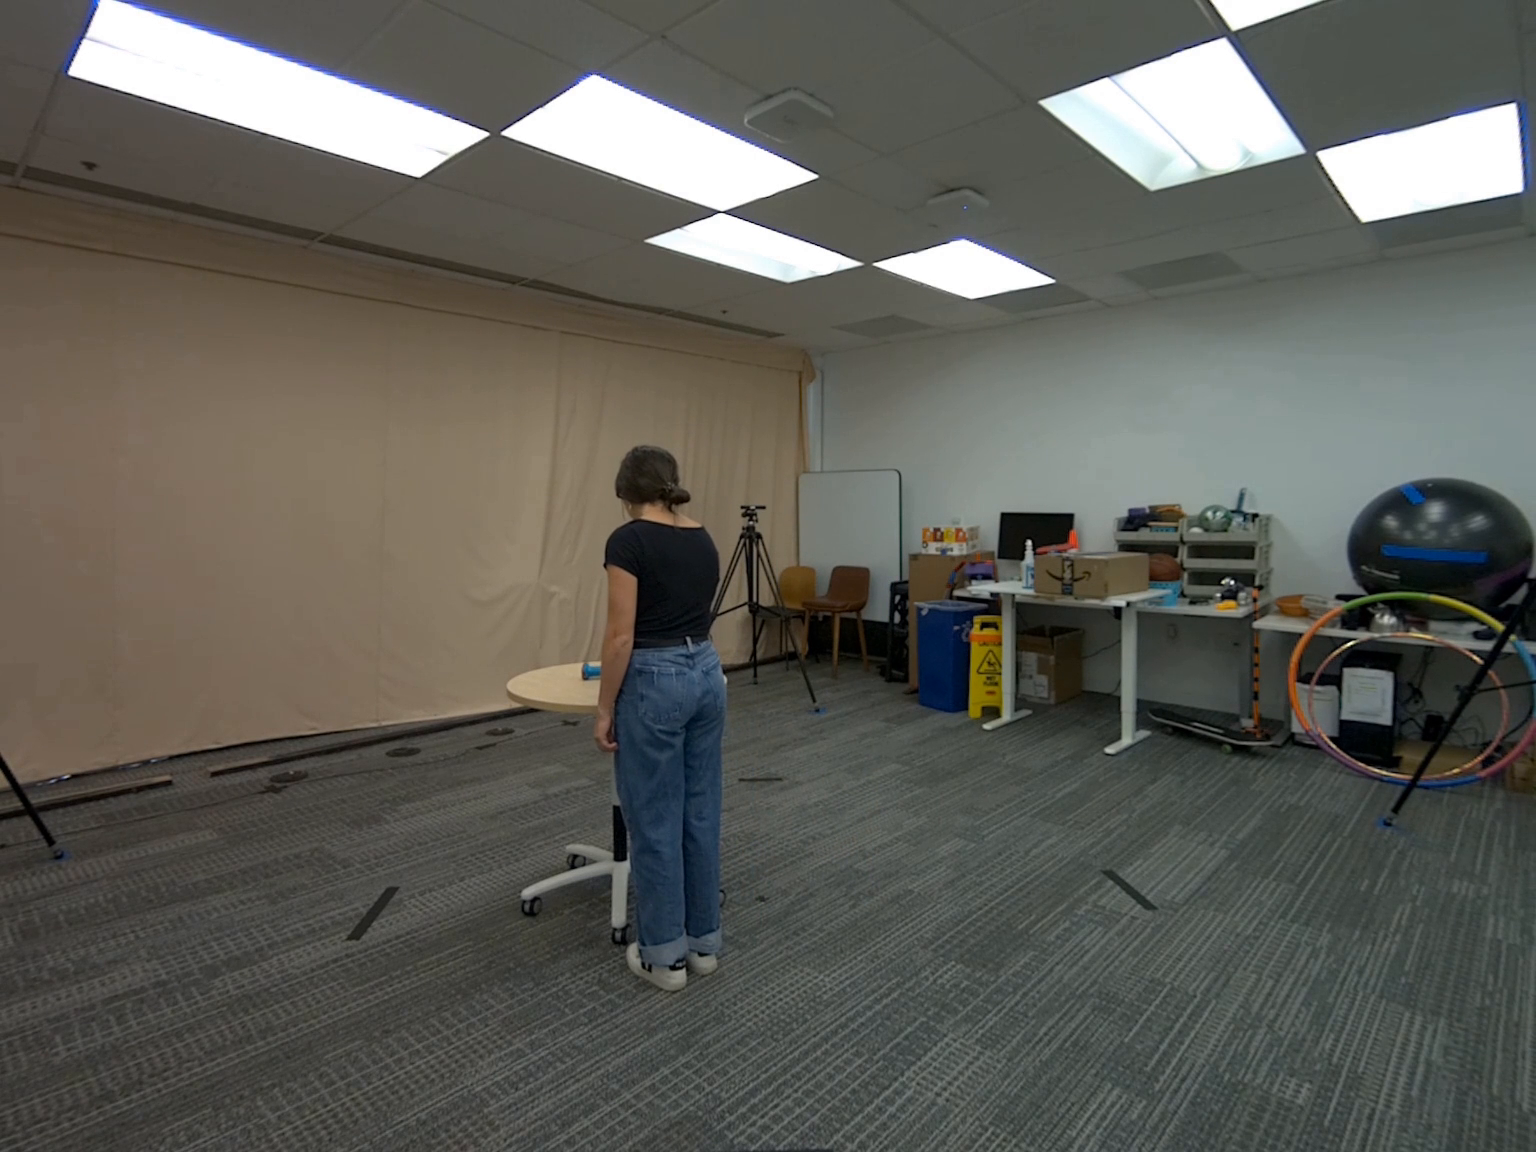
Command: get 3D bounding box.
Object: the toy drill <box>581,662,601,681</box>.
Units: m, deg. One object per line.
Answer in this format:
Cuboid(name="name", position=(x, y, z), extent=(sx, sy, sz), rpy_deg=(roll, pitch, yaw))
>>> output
Cuboid(name="toy drill", position=(-0.582, 0.333, 3.019), extent=(0.146, 0.060, 0.171), rpy_deg=(-2, 14, 1))
